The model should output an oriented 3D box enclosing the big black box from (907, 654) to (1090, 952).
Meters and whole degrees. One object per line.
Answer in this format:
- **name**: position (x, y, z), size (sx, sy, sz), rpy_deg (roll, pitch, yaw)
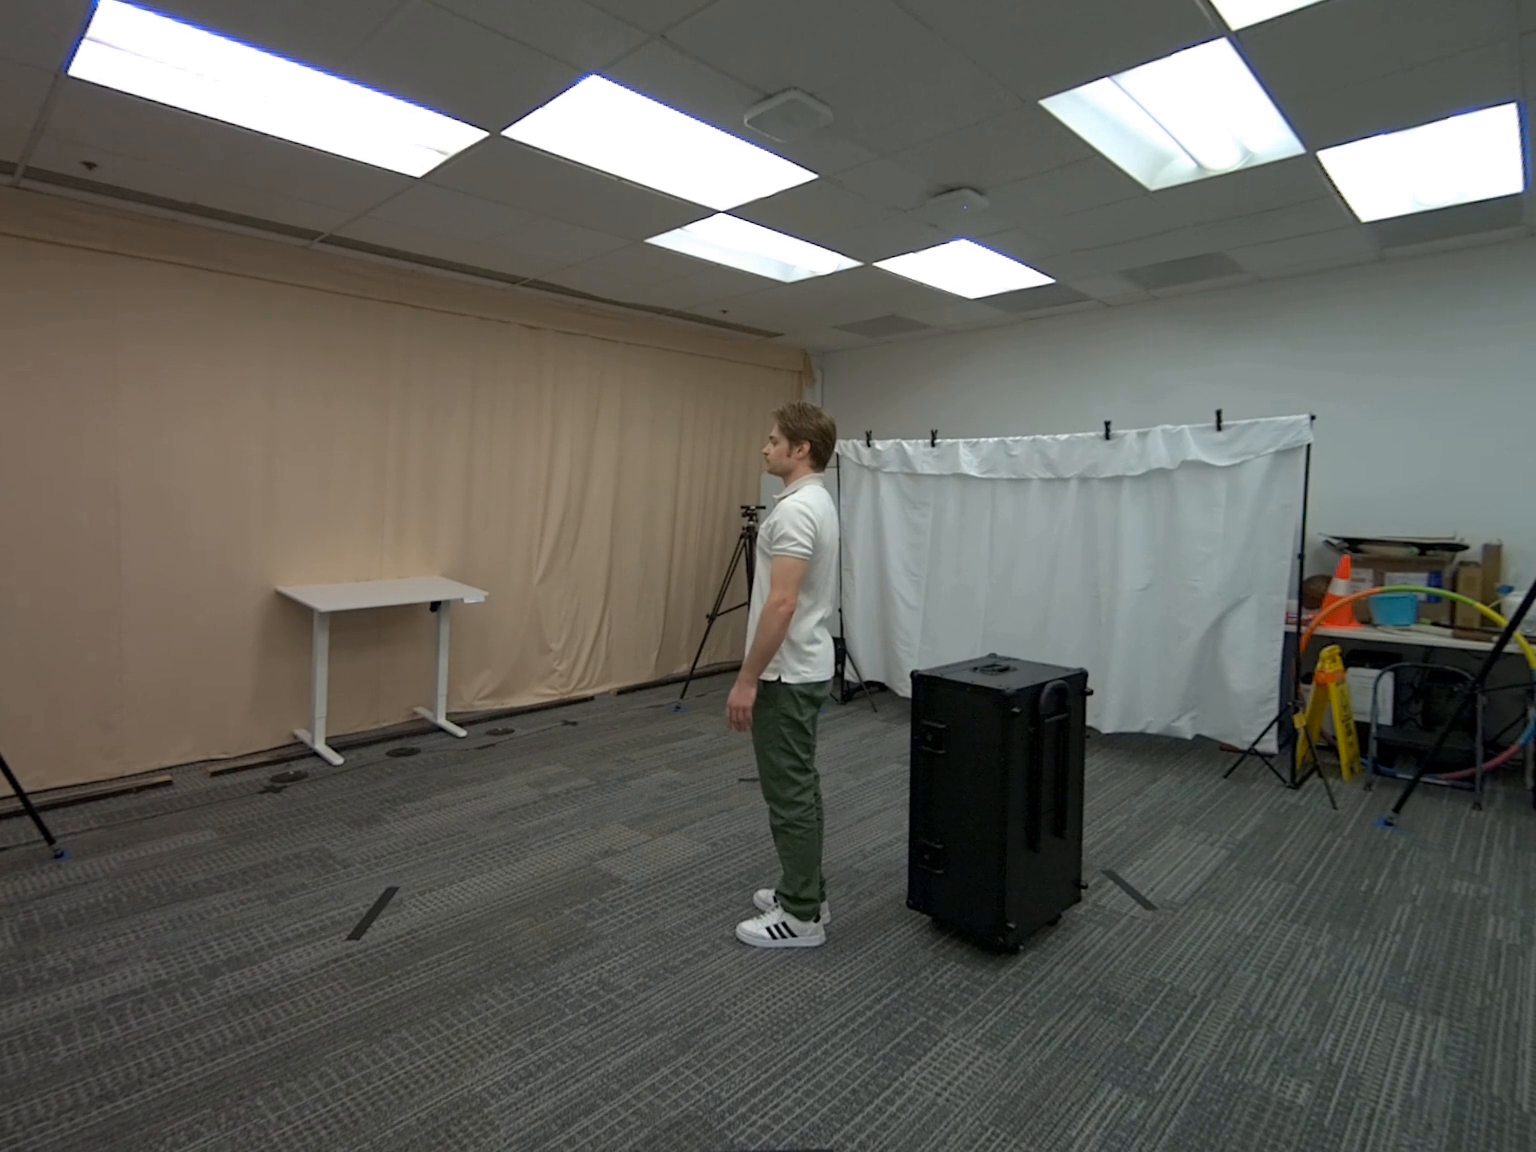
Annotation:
- **big black box**: position (0.771, 0.739, 2.770), size (0.507, 0.866, 0.398), rpy_deg (-4, 6, -43)
